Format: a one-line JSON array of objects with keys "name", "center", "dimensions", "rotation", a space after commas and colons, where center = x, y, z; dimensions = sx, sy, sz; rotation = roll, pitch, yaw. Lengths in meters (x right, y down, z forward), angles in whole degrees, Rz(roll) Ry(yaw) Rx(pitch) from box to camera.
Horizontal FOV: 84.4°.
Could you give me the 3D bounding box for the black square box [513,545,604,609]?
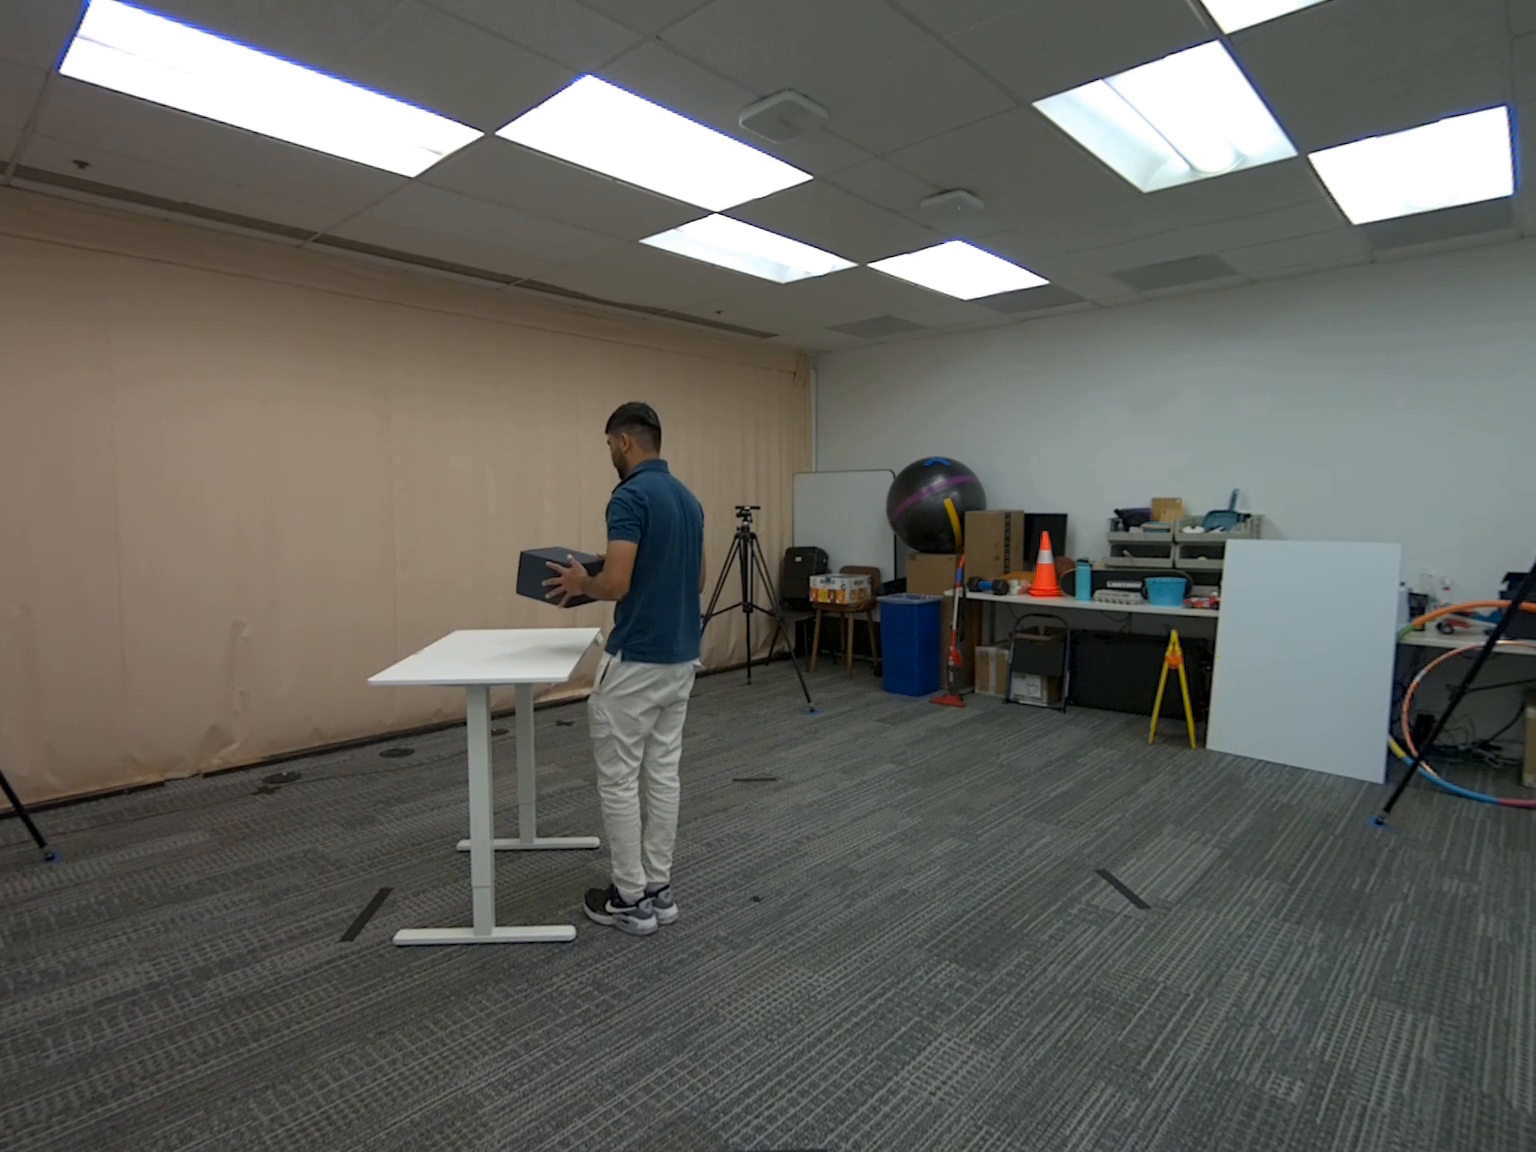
[{"name": "black square box", "center": [-0.738, -0.002, 3.013], "dimensions": [0.233, 0.155, 0.213], "rotation": [13, 10, 20]}]
